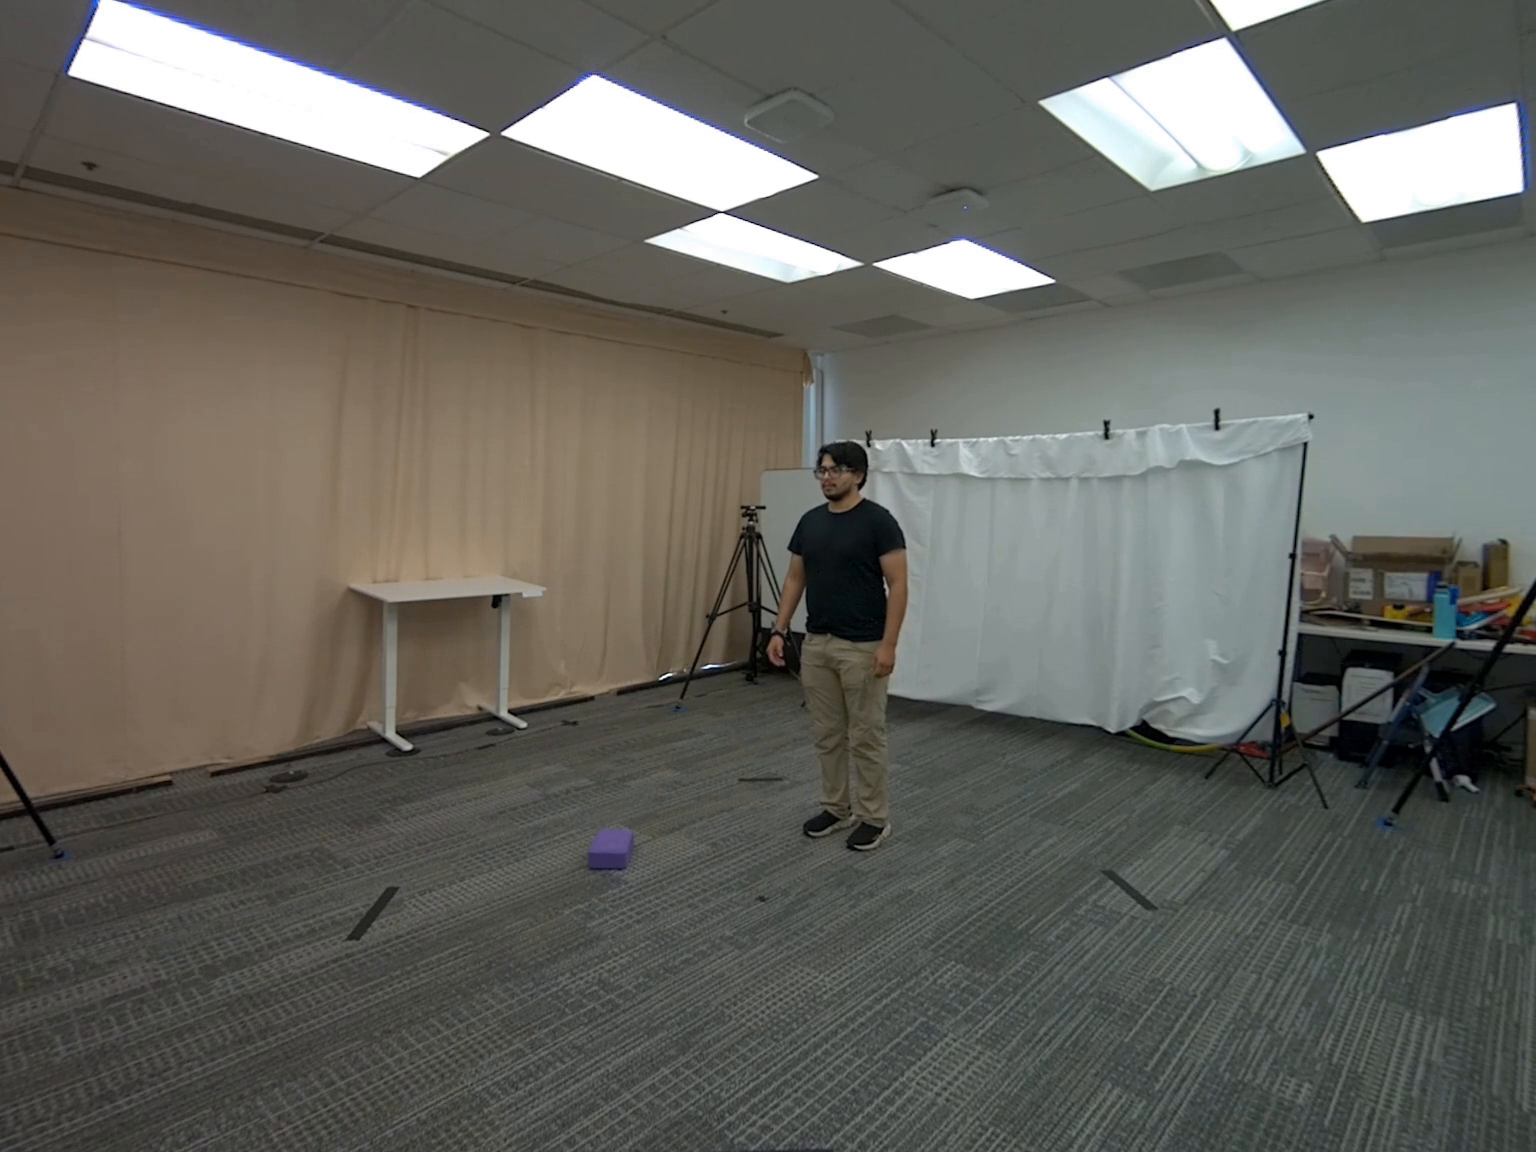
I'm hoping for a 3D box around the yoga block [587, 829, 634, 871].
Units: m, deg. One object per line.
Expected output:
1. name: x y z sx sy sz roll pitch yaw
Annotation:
1. yoga block: -0.620 1.080 3.335 0.149 0.076 0.230 4 5 -1
